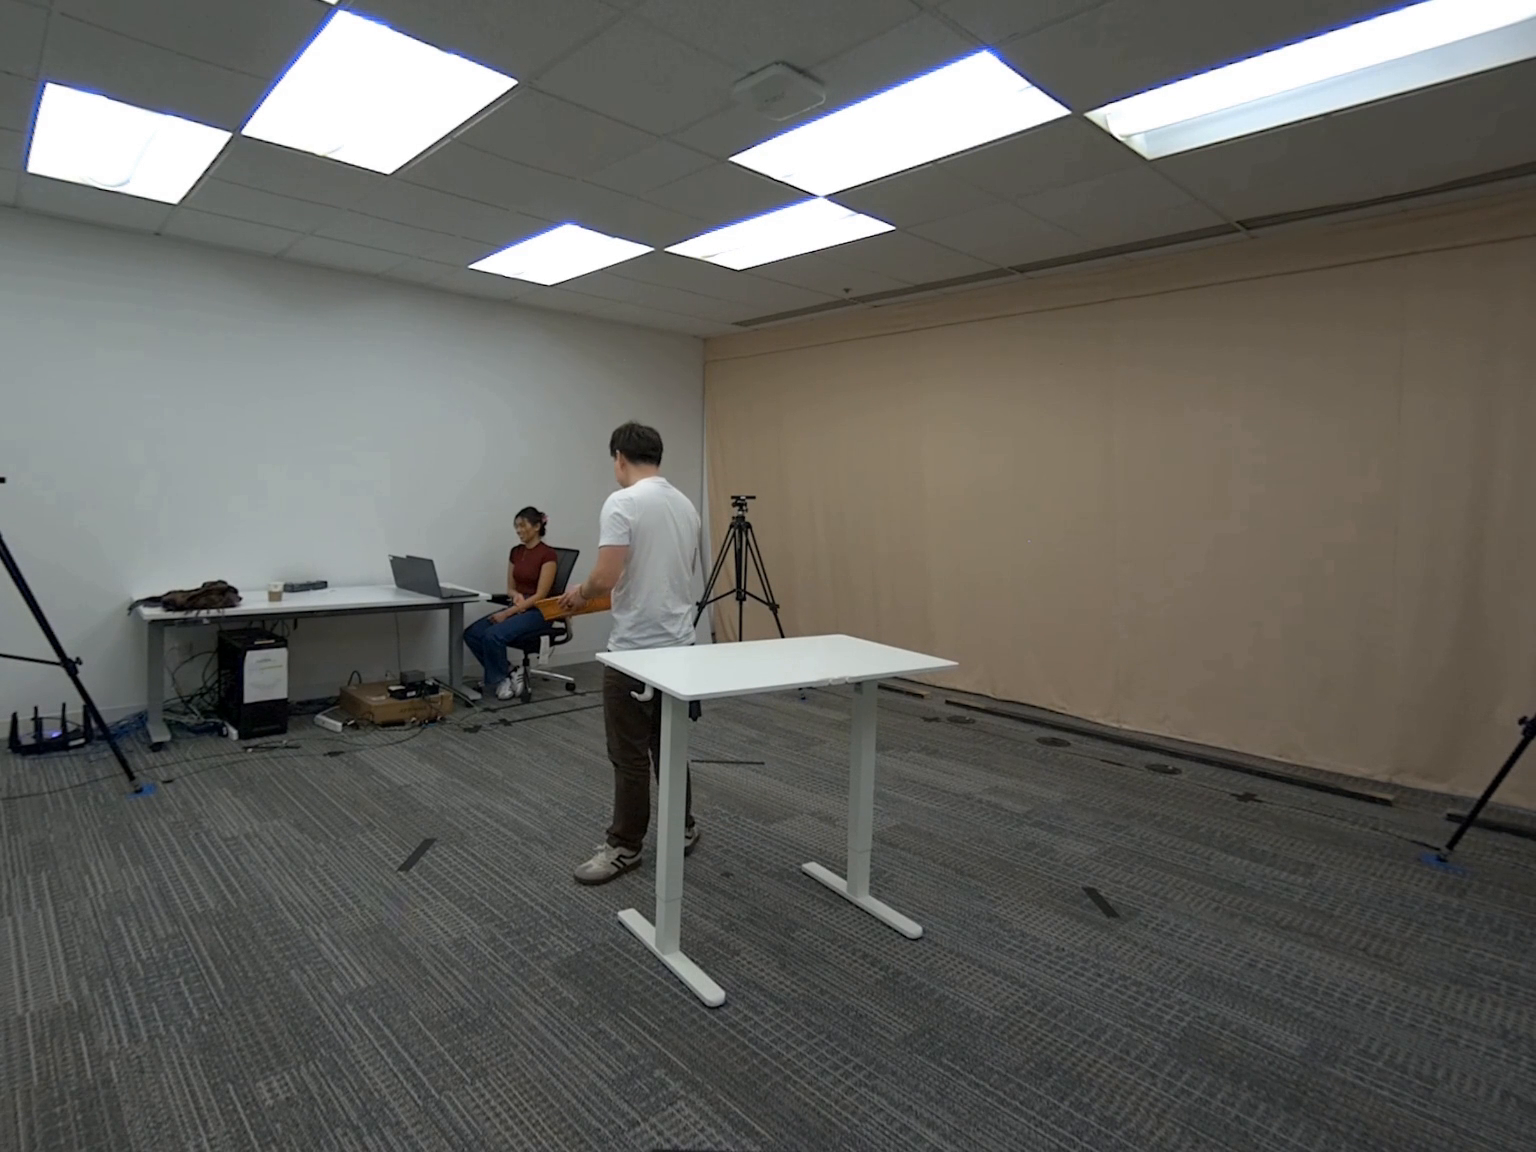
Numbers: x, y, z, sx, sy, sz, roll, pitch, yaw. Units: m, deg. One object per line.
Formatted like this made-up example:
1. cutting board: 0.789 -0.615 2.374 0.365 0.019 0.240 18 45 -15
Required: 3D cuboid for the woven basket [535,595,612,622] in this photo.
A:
1. woven basket: -0.766 0.121 3.352 0.356 0.074 0.247 -12 -7 28
